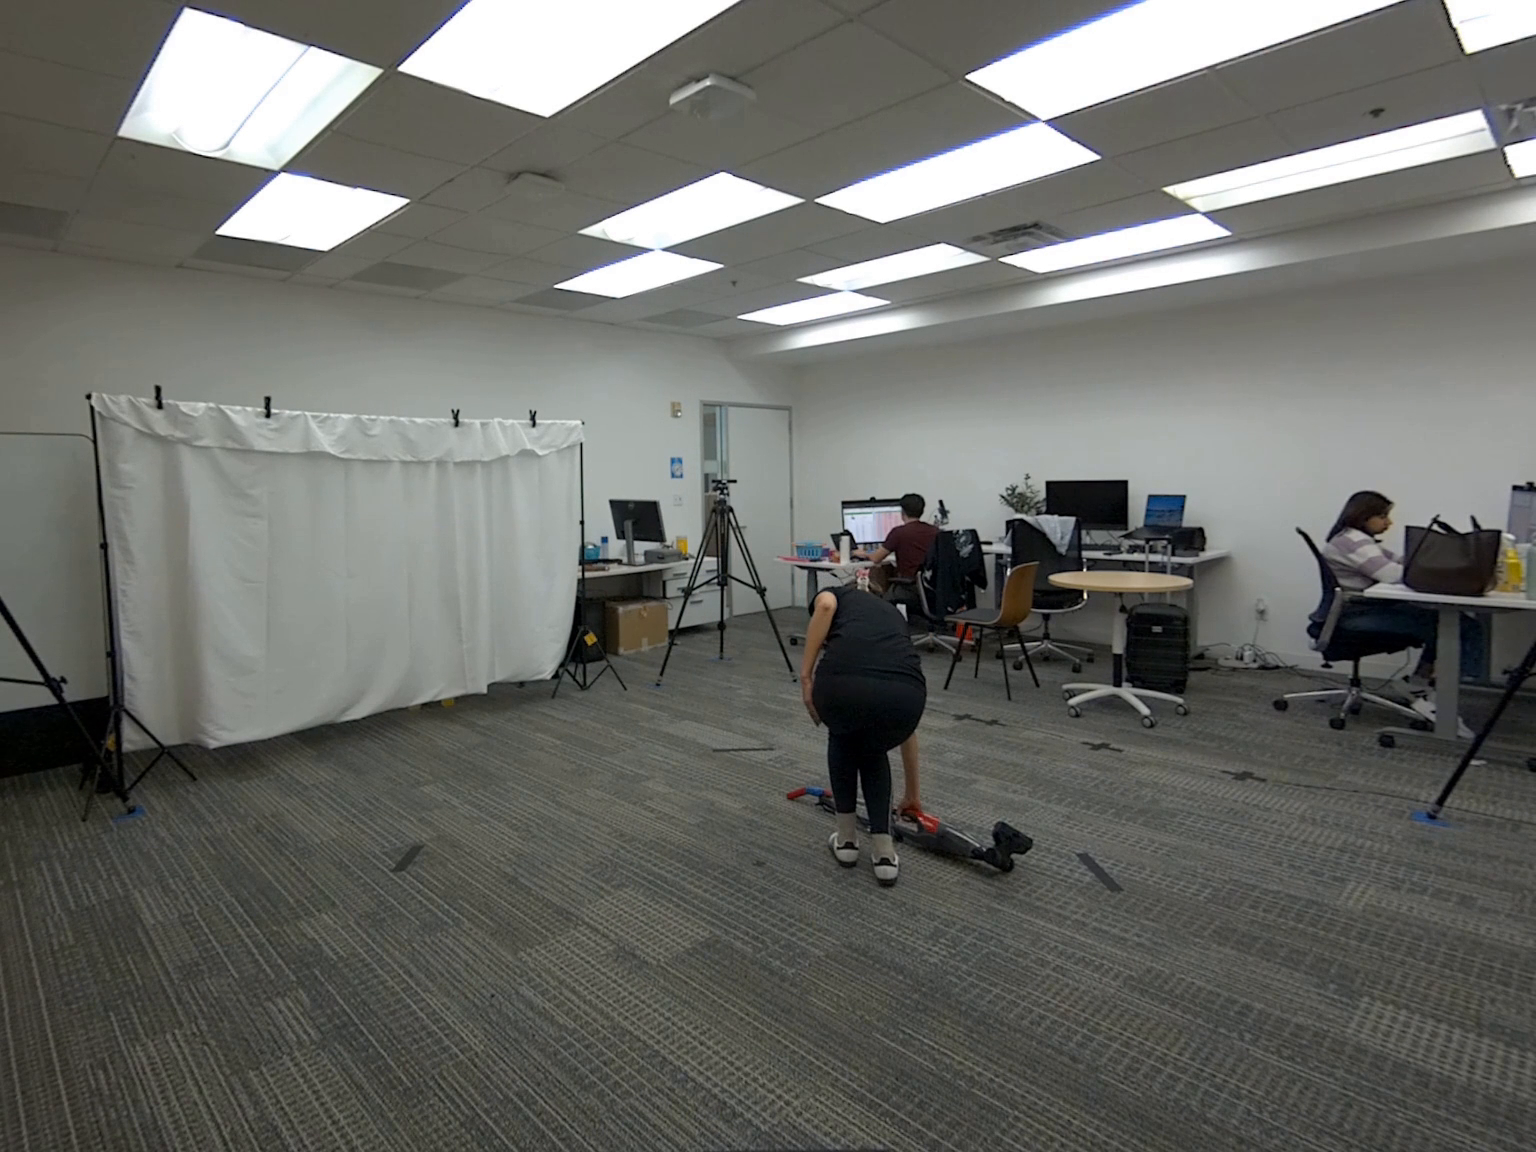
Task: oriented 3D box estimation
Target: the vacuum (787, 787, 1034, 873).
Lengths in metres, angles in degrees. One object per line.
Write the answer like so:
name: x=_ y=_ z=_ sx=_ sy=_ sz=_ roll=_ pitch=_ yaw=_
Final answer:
vacuum: x=0.465 y=0.961 z=3.361 sx=1.078 sy=0.145 sz=0.243 roll=-3 pitch=-28 yaw=46
